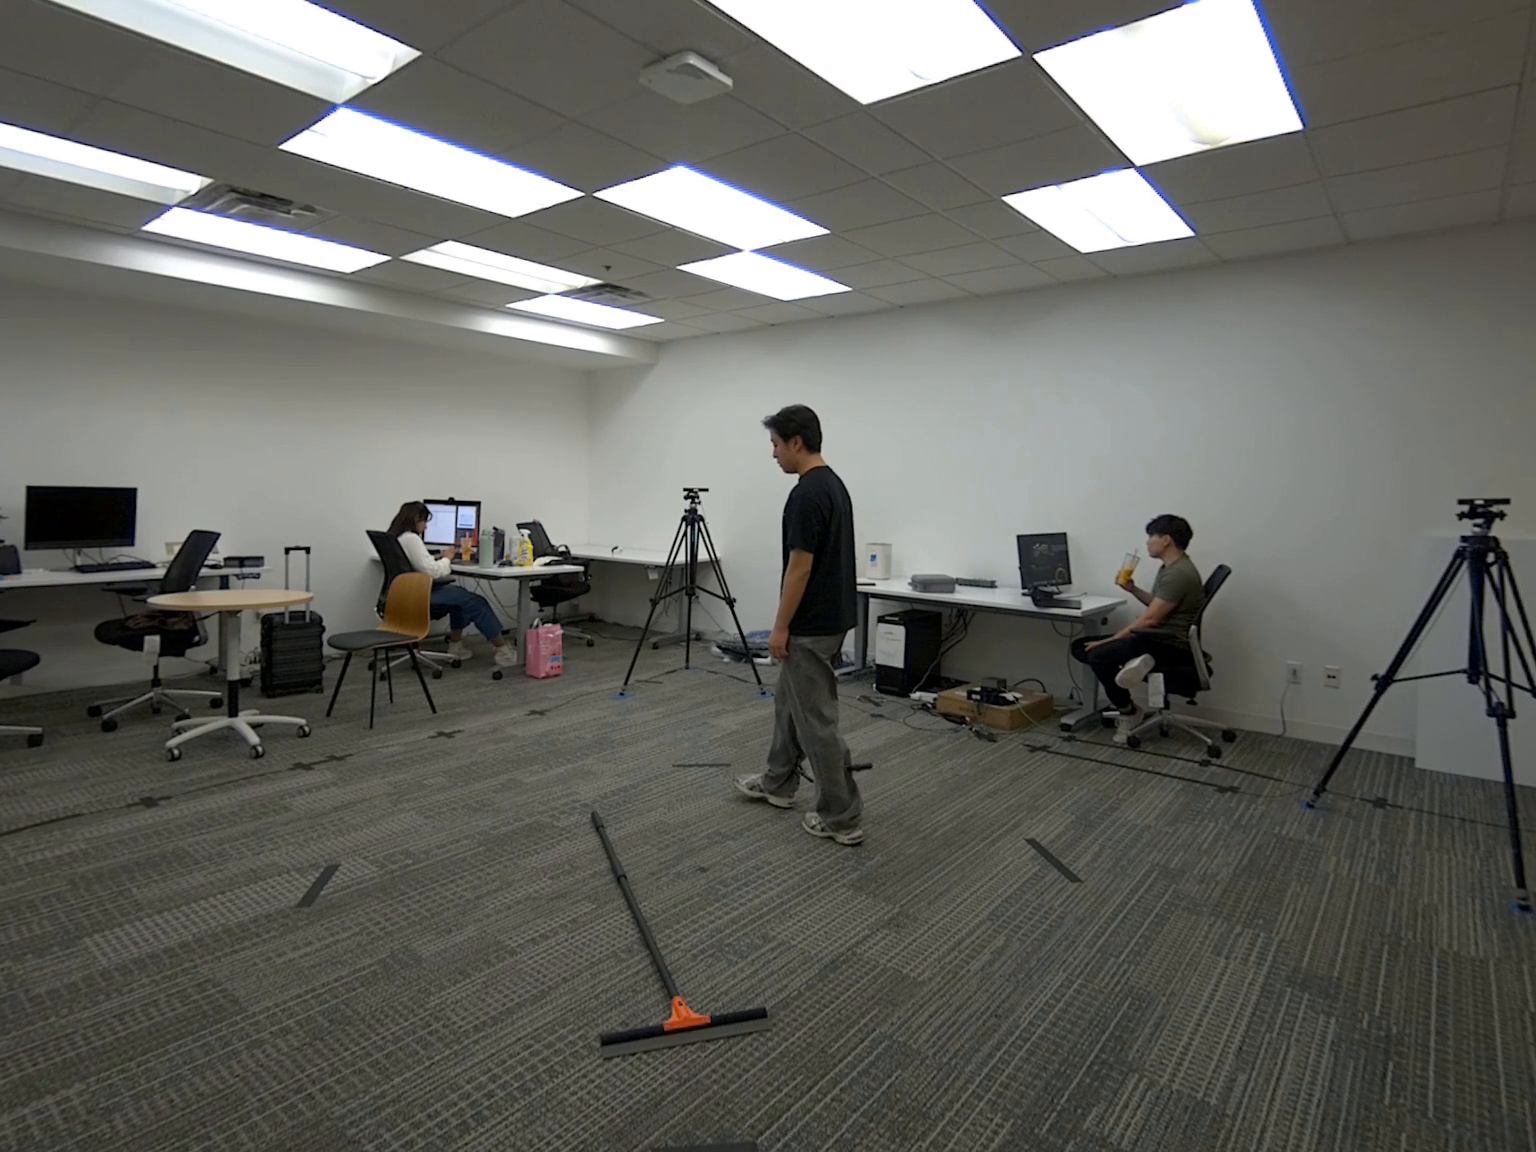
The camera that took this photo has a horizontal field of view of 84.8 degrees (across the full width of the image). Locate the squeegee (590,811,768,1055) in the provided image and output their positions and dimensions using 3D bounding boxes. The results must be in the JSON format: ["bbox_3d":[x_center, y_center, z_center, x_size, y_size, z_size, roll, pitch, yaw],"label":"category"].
[{"bbox_3d":[-0.474,1.047,2.865,0.429,0.053,1.575,-1,6,-21],"label":"squeegee"}]
